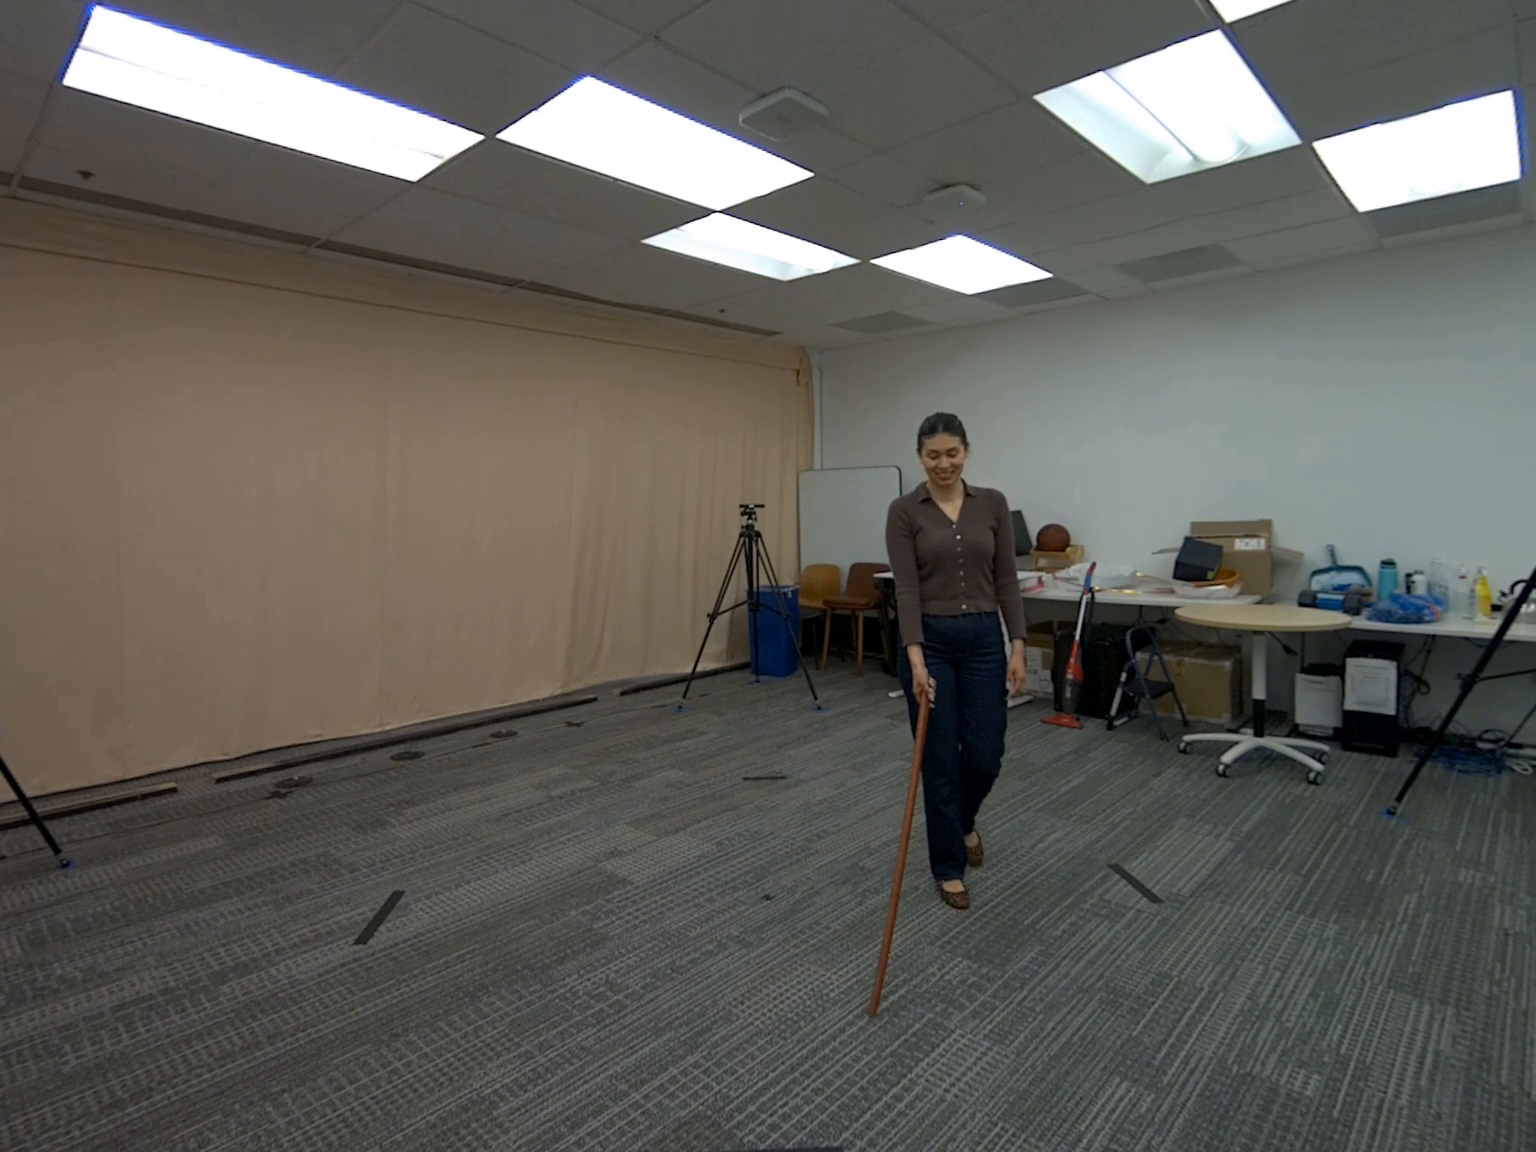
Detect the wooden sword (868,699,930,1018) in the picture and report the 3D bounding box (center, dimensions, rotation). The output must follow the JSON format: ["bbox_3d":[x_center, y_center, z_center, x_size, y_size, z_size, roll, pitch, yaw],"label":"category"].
[{"bbox_3d":[0.427,0.768,2.542,0.052,1.032,0.023,7,-31,15],"label":"wooden sword"}]
